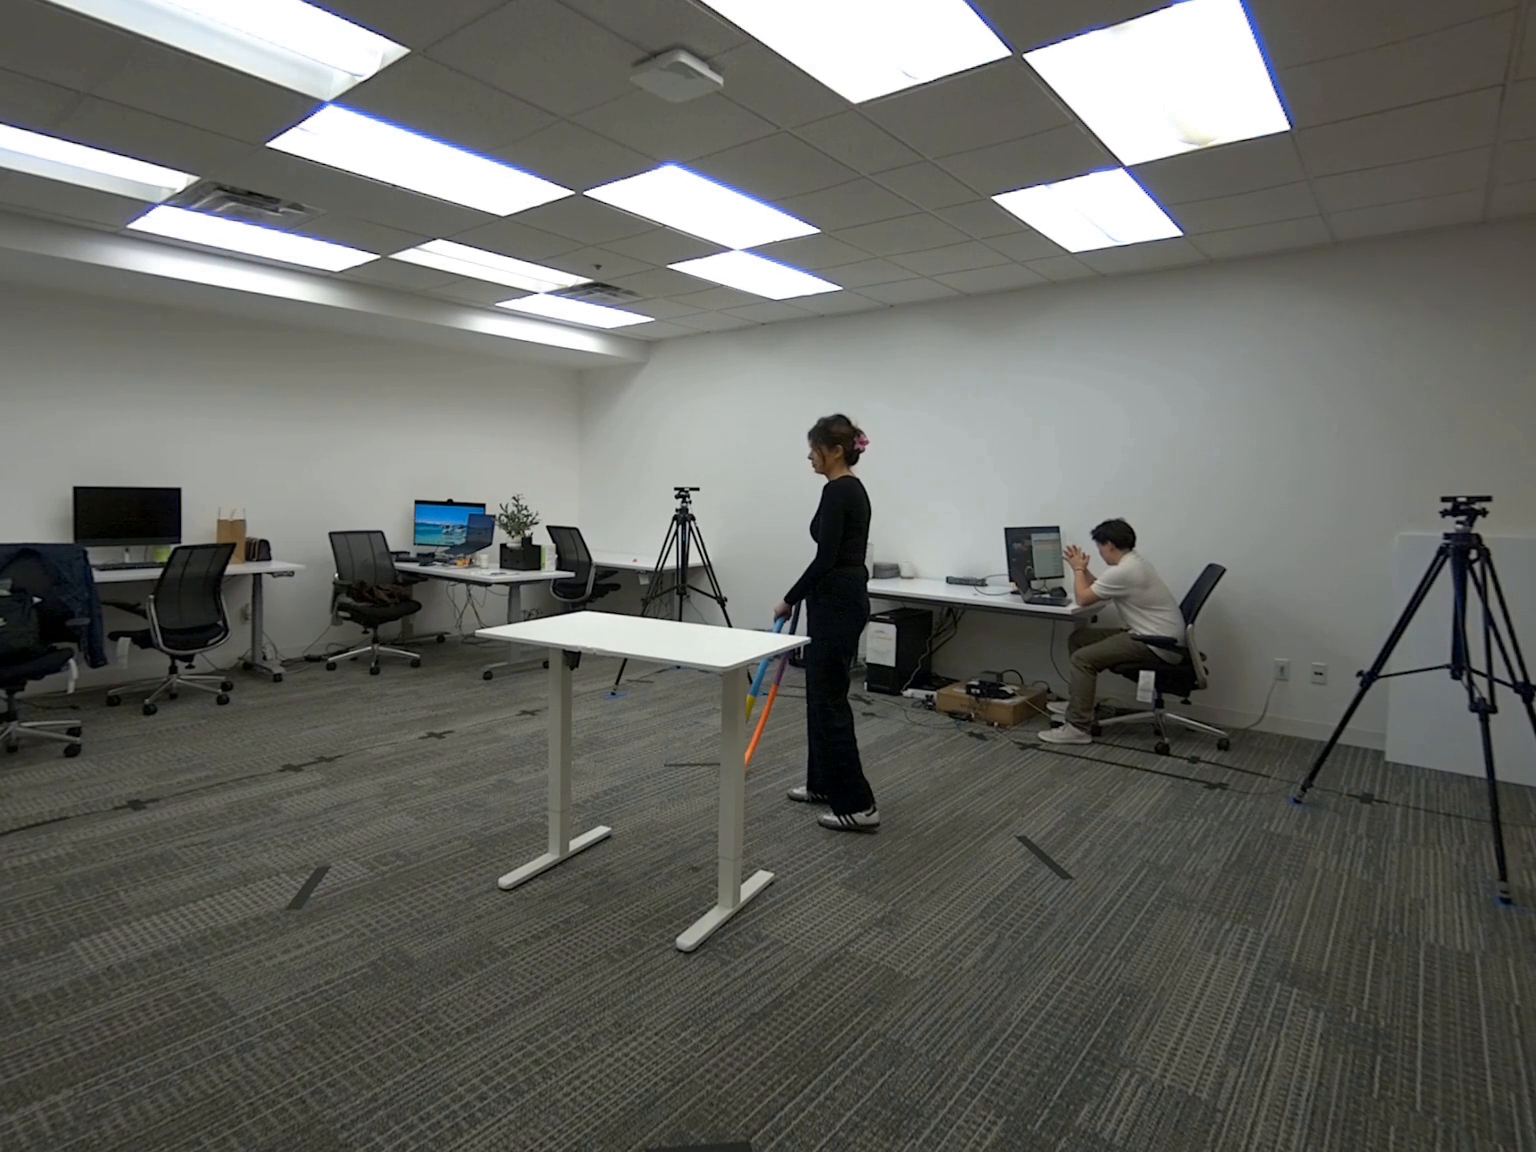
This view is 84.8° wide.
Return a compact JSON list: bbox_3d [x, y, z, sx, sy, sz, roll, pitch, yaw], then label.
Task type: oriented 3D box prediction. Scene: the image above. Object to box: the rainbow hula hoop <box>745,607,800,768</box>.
[{"bbox_3d":[-0.018,0.522,3.926,0.036,0.974,0.970,19,7,7],"label":"rainbow hula hoop"}]
